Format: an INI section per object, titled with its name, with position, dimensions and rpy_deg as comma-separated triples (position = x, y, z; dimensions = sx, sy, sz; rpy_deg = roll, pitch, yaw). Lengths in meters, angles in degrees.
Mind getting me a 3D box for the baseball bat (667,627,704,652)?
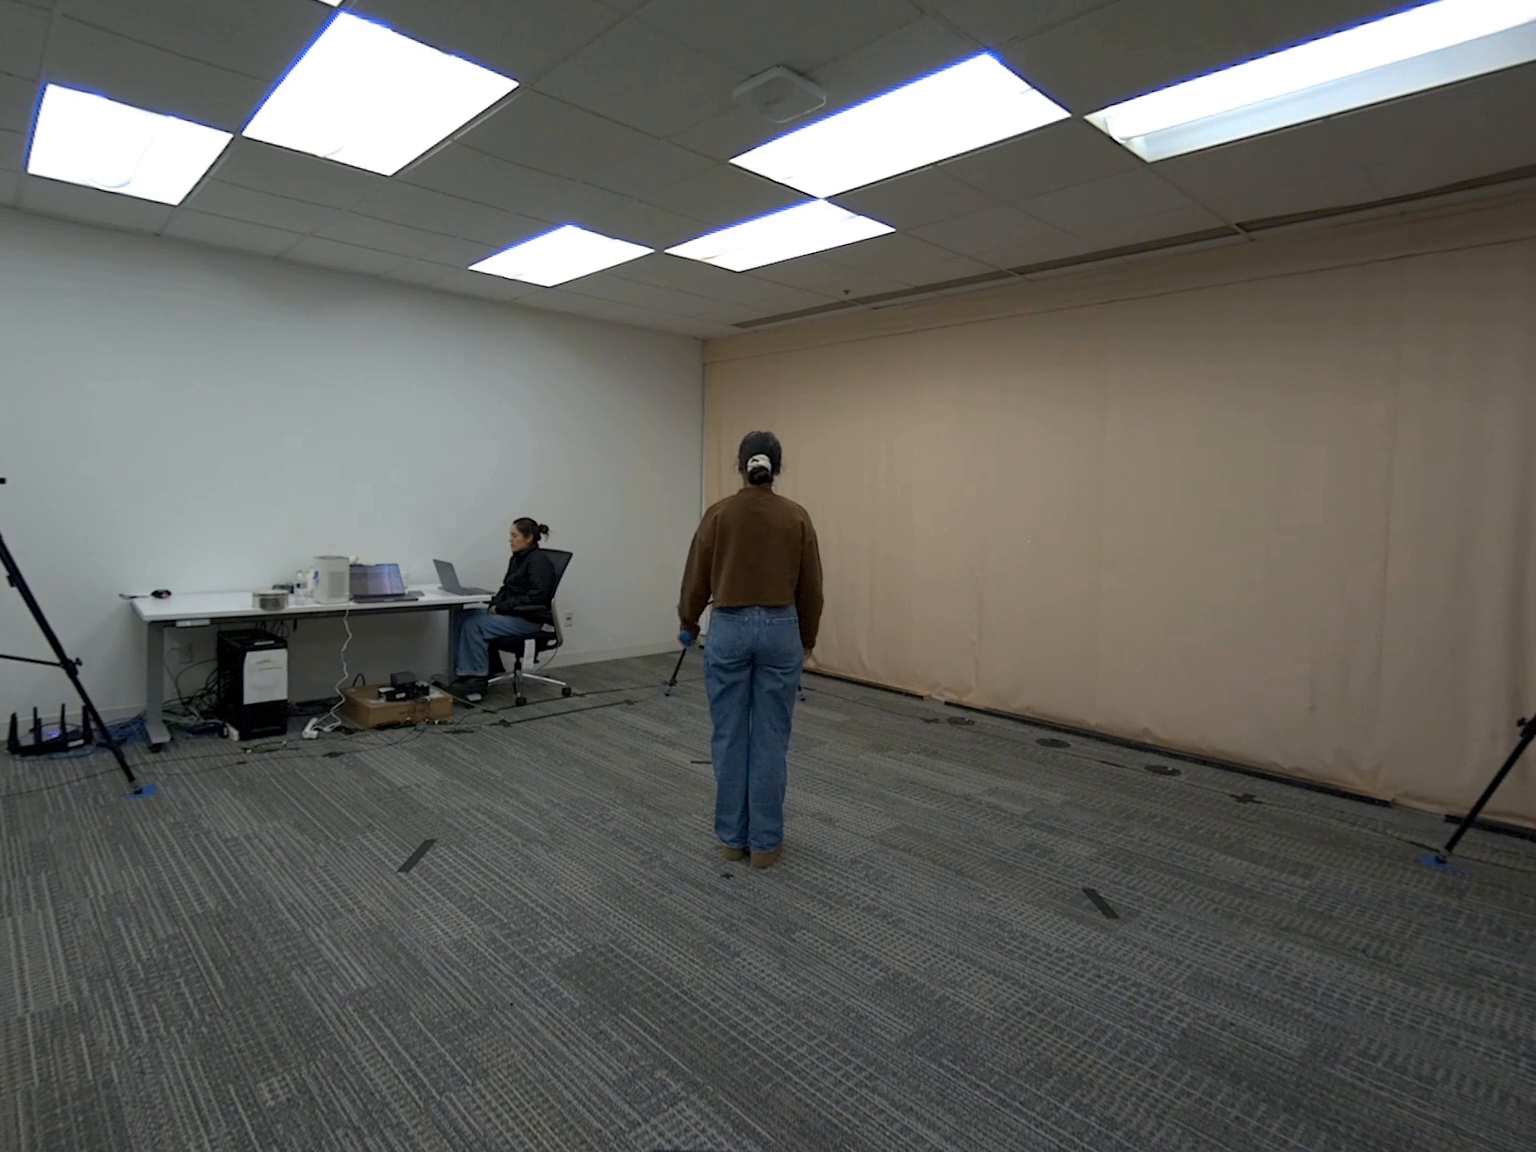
[baseball bat]
position = -0.345, 0.270, 3.588
dimensions = 0.089, 0.089, 0.539
rpy_deg = 2, -5, 1
